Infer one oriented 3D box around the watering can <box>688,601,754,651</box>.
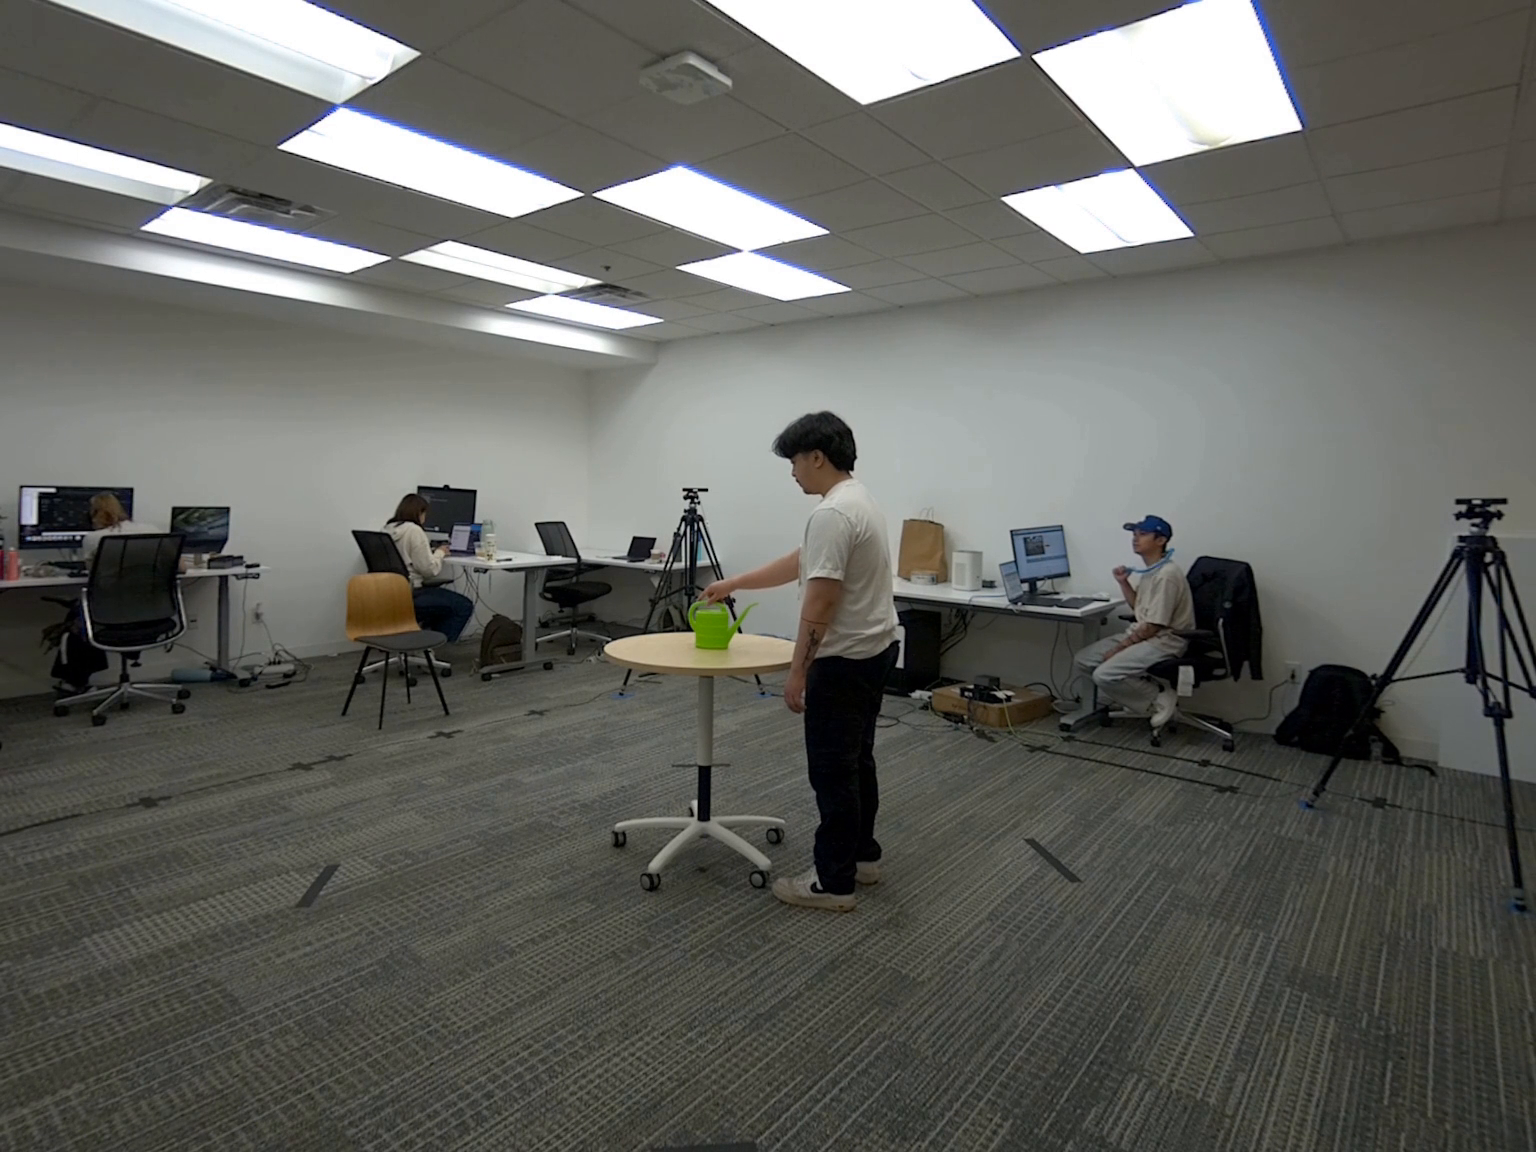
[{"bbox_3d":[-0.187,0.184,3.191,0.286,0.176,0.095,2,3,28],"label":"watering can"}]
